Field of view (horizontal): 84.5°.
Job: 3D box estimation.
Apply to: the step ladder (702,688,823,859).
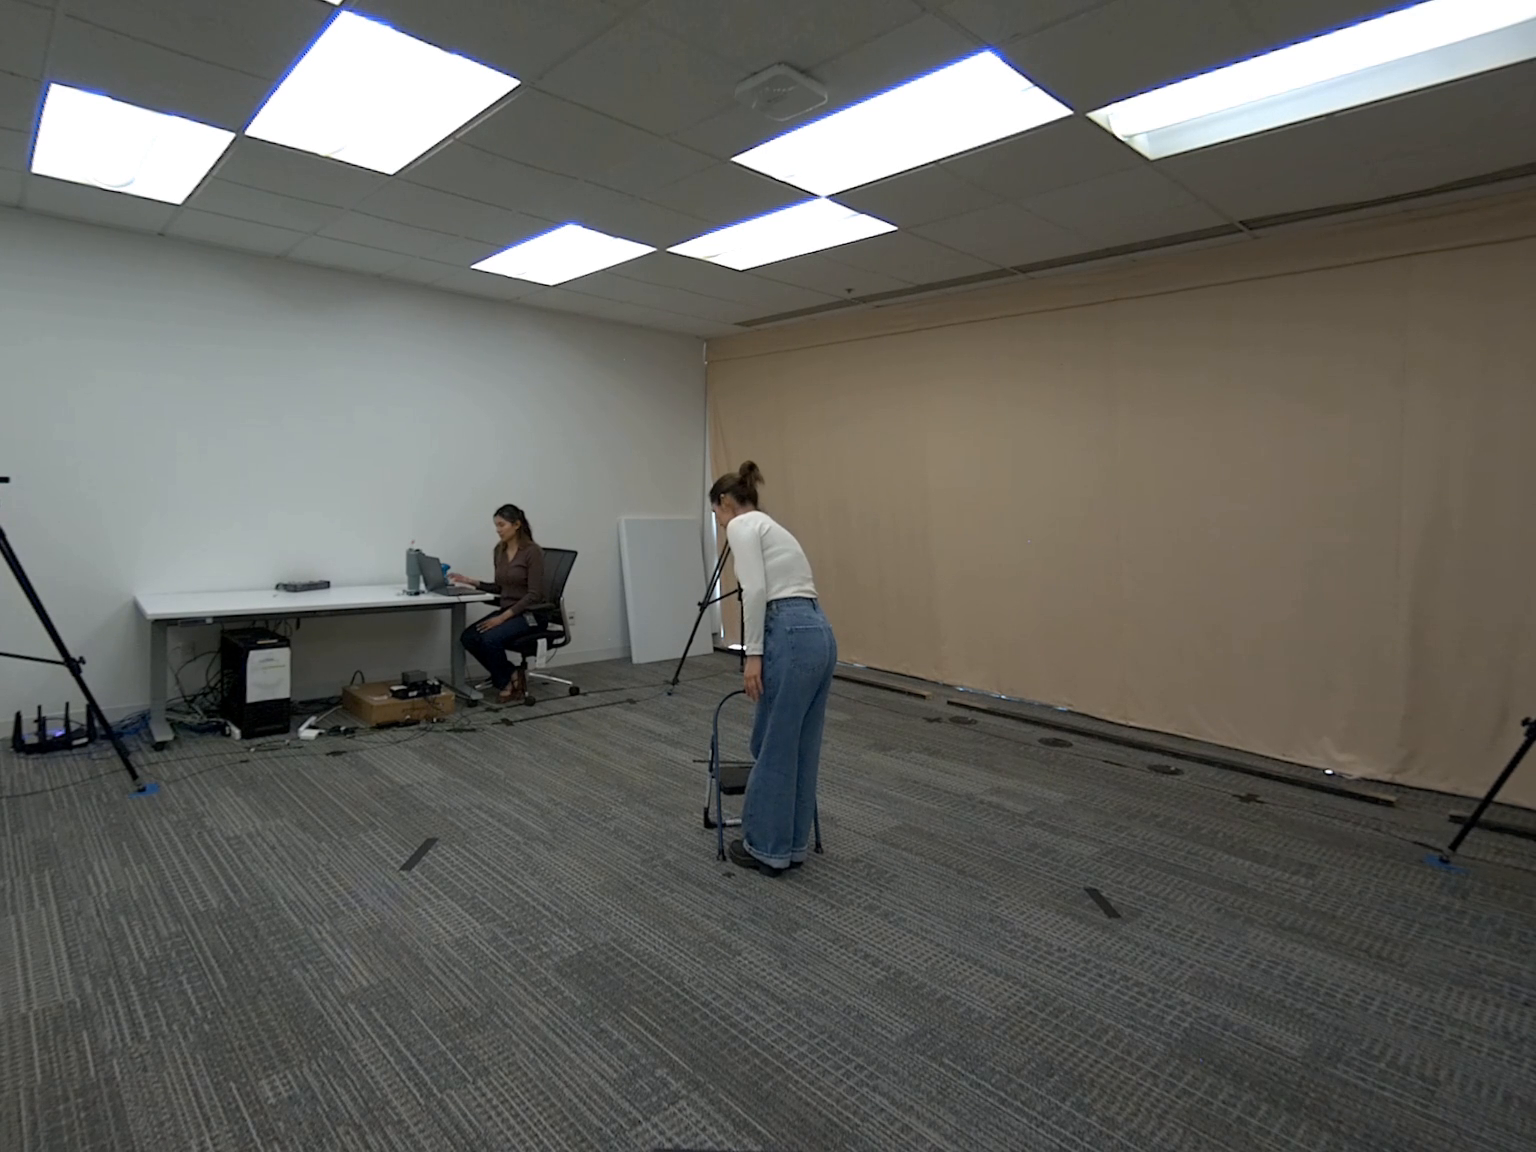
[{"bbox_3d":[-0.029,0.763,3.429,0.426,0.605,0.354,1,3,-14],"label":"step ladder"}]
